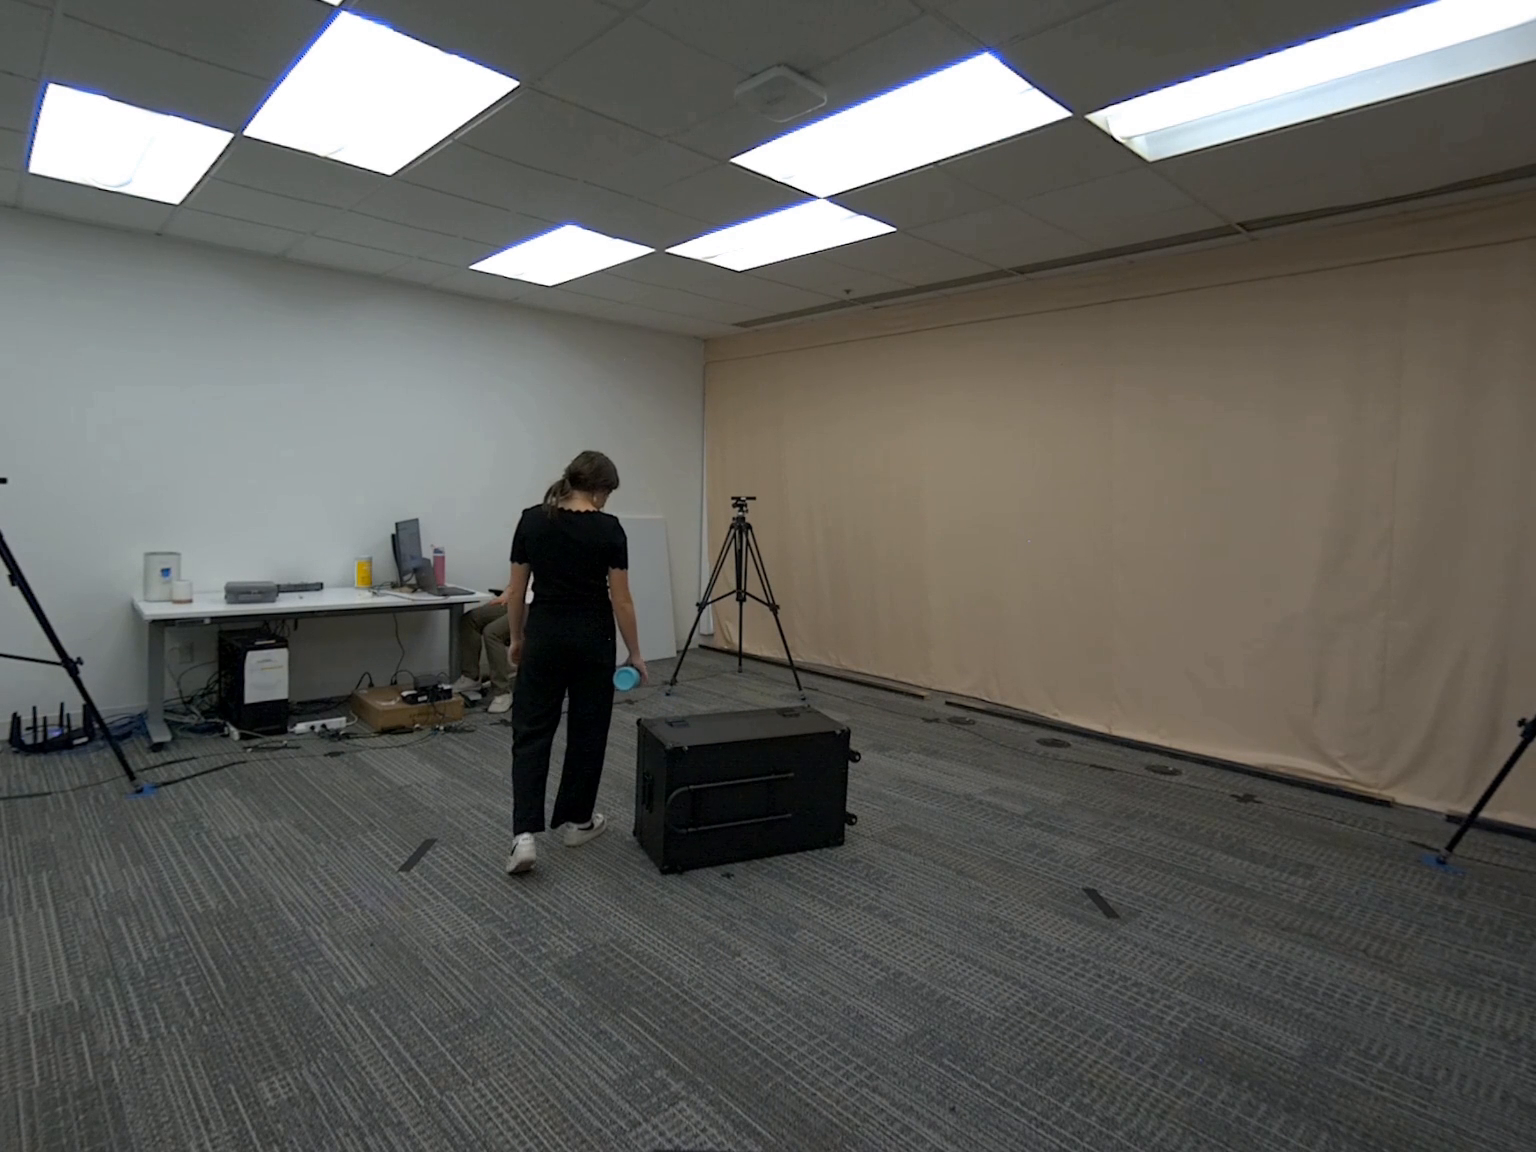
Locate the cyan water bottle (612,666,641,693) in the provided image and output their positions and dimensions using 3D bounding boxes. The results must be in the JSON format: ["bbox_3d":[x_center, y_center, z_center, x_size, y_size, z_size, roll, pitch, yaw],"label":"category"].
[{"bbox_3d":[-0.560,0.407,3.380,0.092,0.092,0.281,2,-4,3],"label":"cyan water bottle"}]
